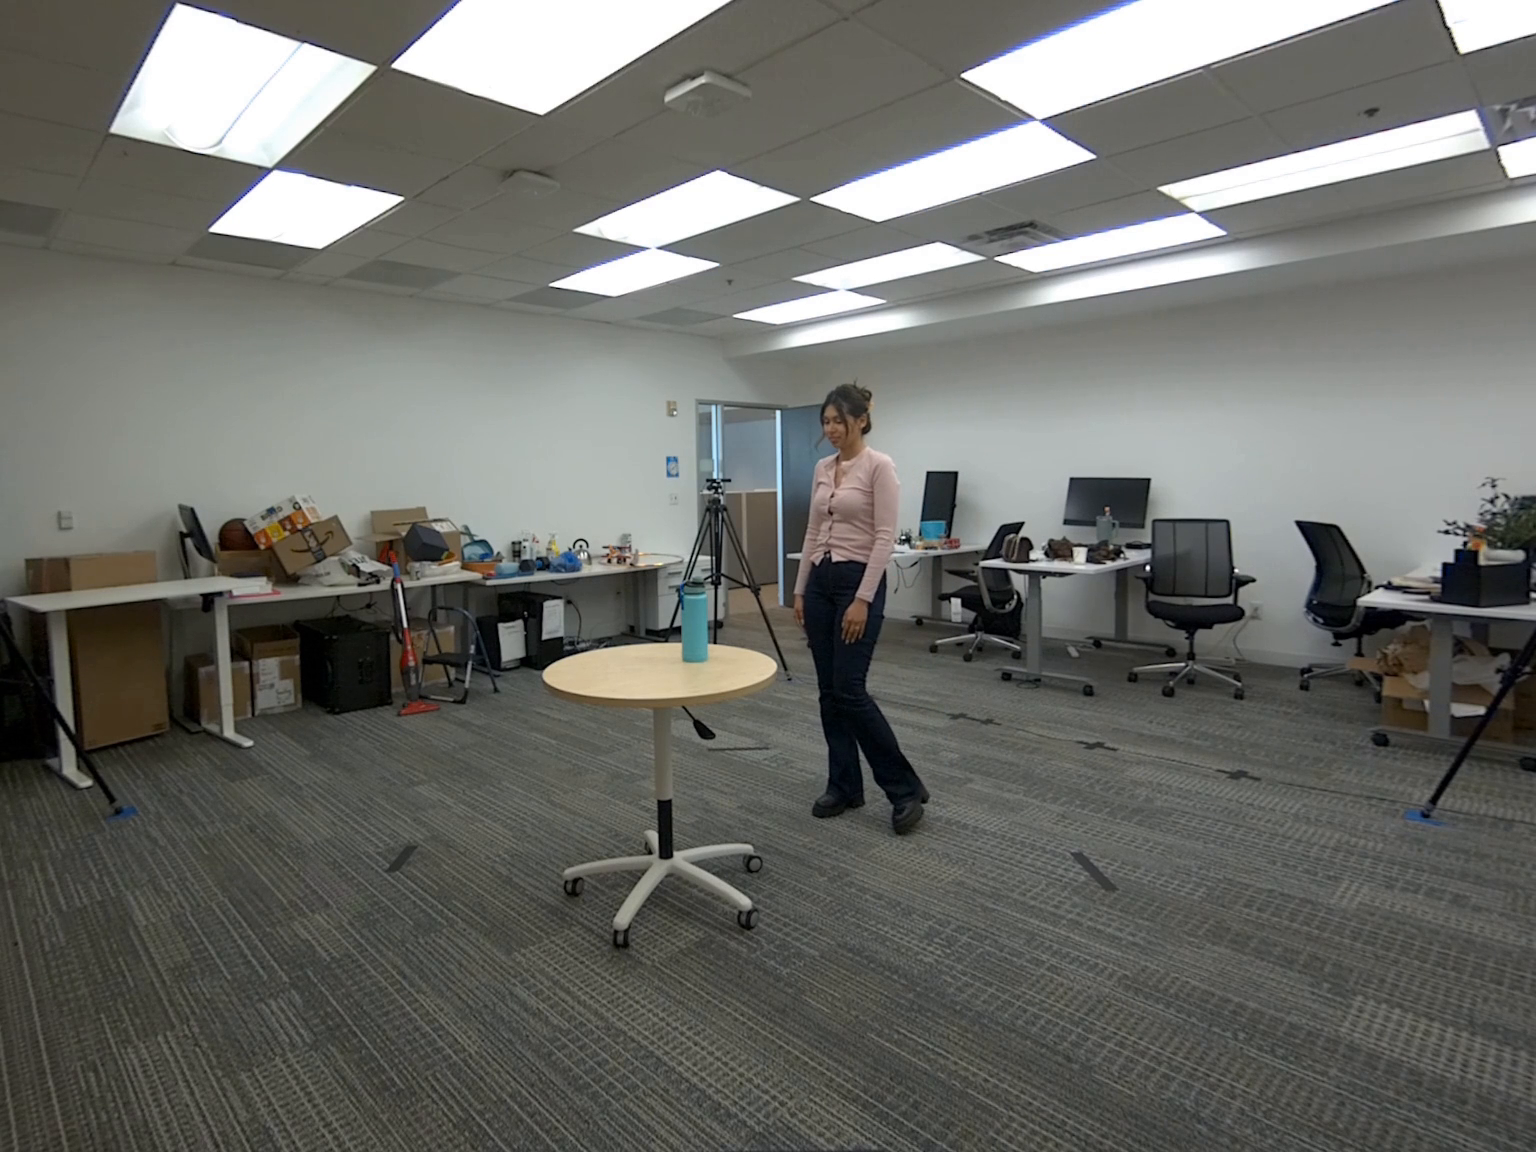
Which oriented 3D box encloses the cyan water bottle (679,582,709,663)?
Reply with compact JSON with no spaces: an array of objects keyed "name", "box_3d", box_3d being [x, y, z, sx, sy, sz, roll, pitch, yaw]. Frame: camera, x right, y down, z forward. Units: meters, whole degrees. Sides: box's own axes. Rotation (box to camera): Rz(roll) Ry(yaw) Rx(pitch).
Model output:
[{"name":"cyan water bottle","box_3d":[-0.253,0.148,2.896,0.092,0.282,0.093,-2,5,-1]}]
